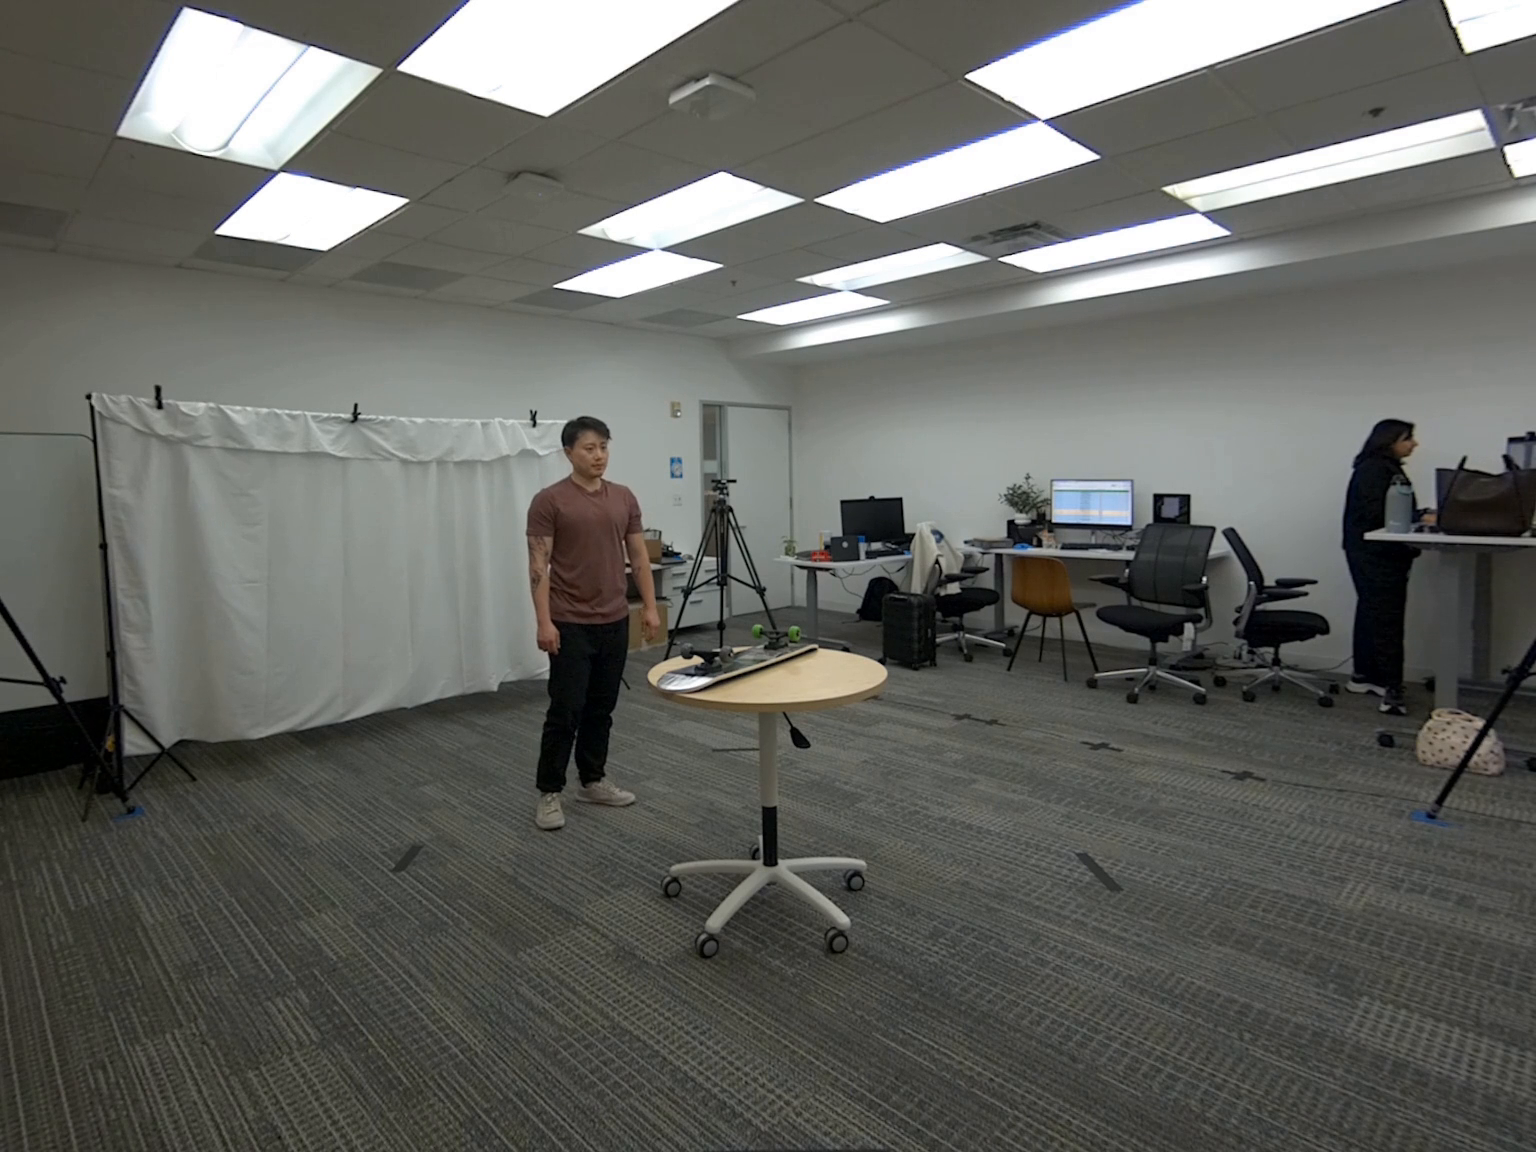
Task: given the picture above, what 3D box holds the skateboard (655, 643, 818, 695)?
[{"bbox_3d":[-0.073,0.252,2.819,0.199,0.110,0.767,0,6,35],"label":"skateboard"}]
